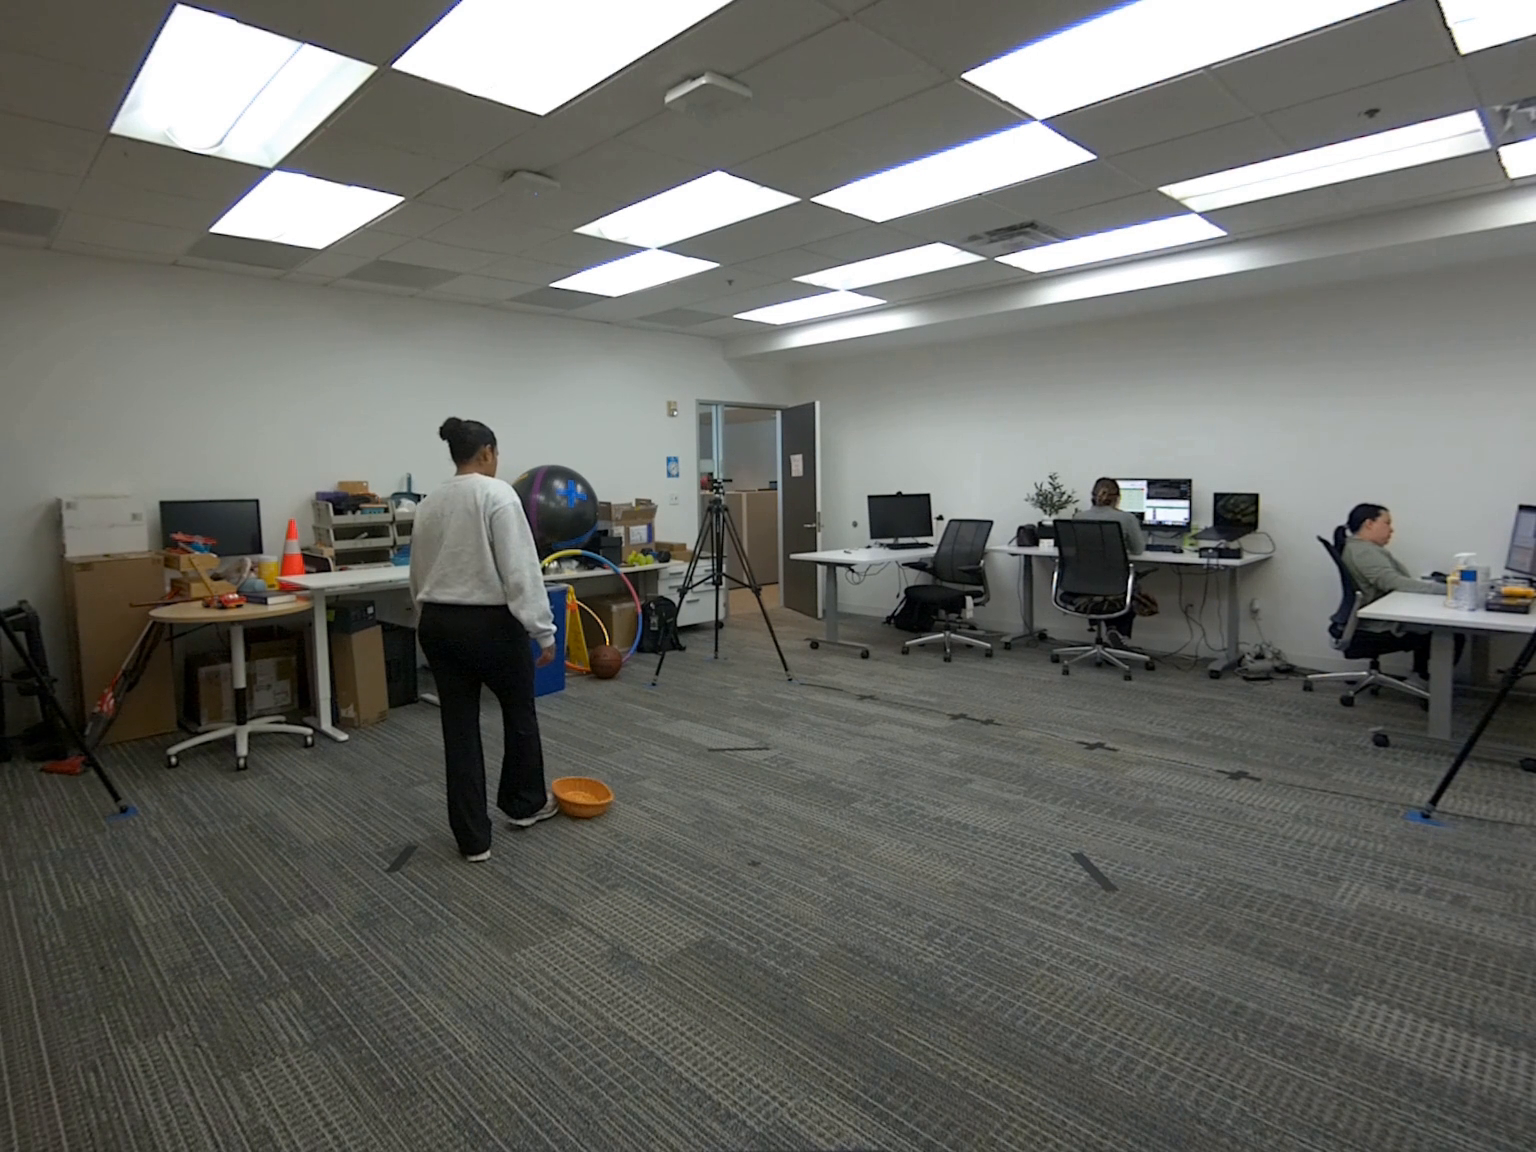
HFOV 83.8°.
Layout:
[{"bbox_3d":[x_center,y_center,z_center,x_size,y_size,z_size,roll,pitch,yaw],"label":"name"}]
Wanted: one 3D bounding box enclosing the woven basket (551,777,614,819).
[{"bbox_3d":[-0.783,0.954,3.665,0.247,0.073,0.359,4,4,-24],"label":"woven basket"}]
